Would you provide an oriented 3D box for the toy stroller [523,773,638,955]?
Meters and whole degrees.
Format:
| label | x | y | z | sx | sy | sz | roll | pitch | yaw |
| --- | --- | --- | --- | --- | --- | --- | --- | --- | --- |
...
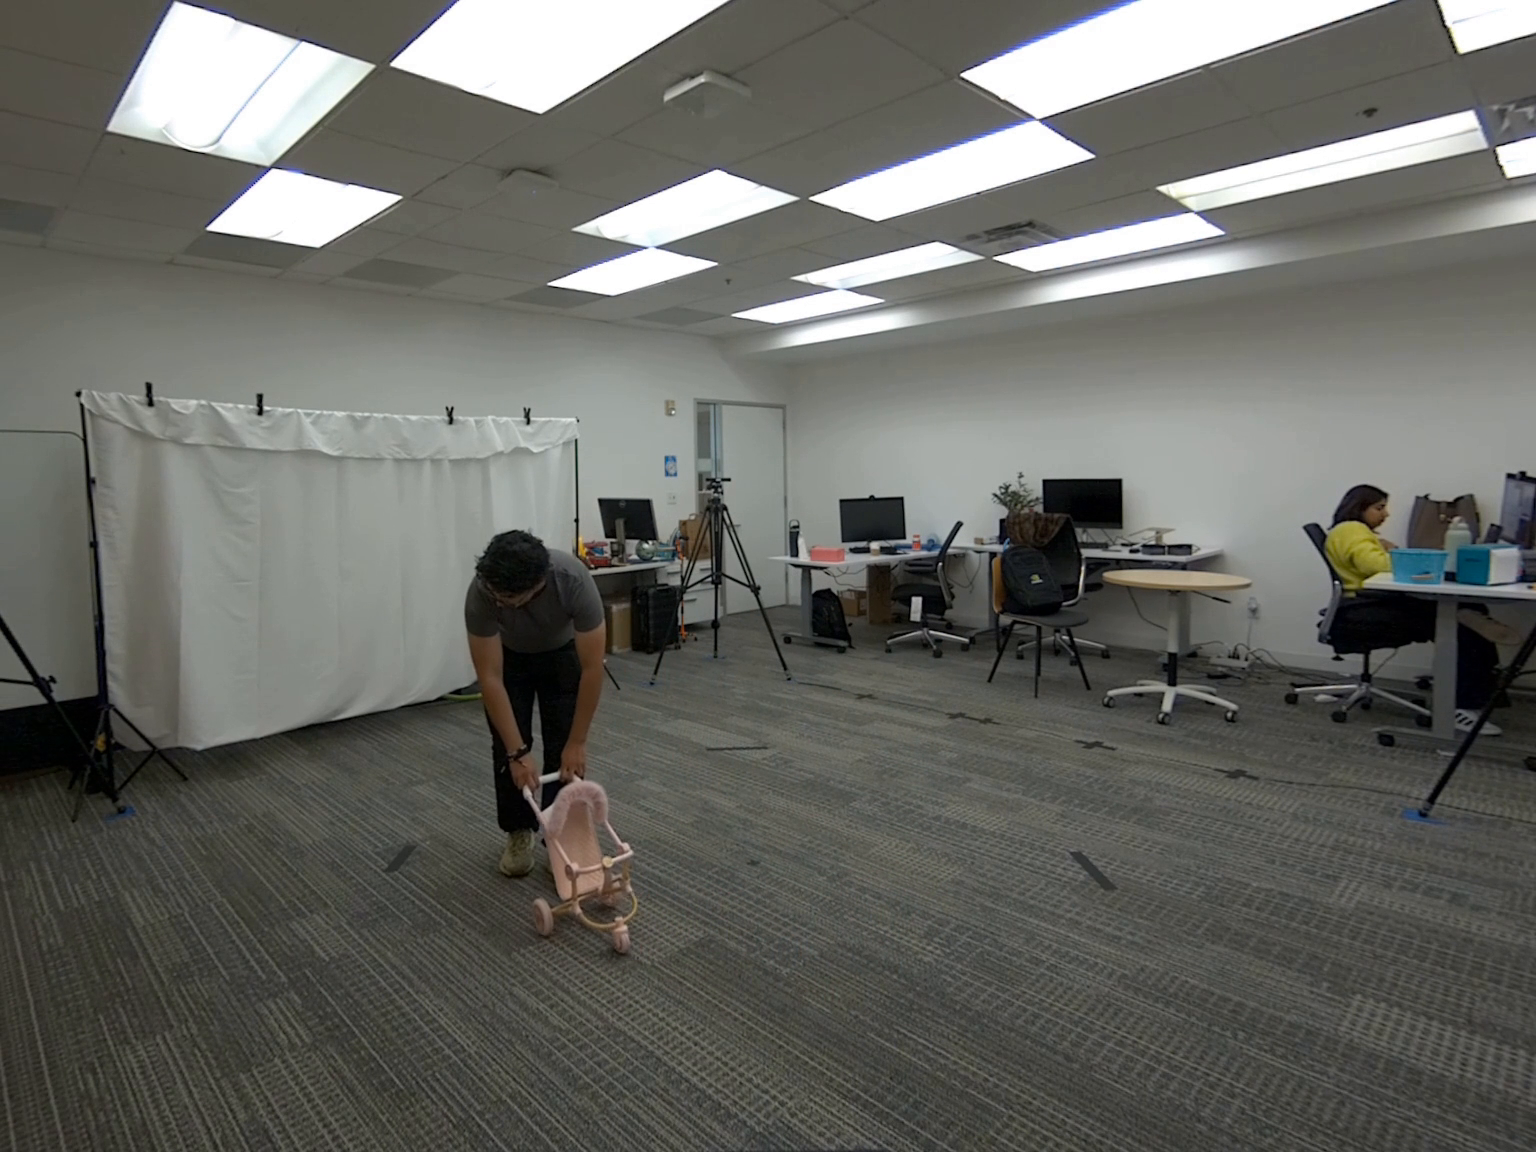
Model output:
| label | x | y | z | sx | sy | sz | roll | pitch | yaw |
| --- | --- | --- | --- | --- | --- | --- | --- | --- | --- |
| toy stroller | -0.571 | 0.878 | 2.669 | 0.274 | 0.540 | 0.347 | -5 | -10 | -39 |
